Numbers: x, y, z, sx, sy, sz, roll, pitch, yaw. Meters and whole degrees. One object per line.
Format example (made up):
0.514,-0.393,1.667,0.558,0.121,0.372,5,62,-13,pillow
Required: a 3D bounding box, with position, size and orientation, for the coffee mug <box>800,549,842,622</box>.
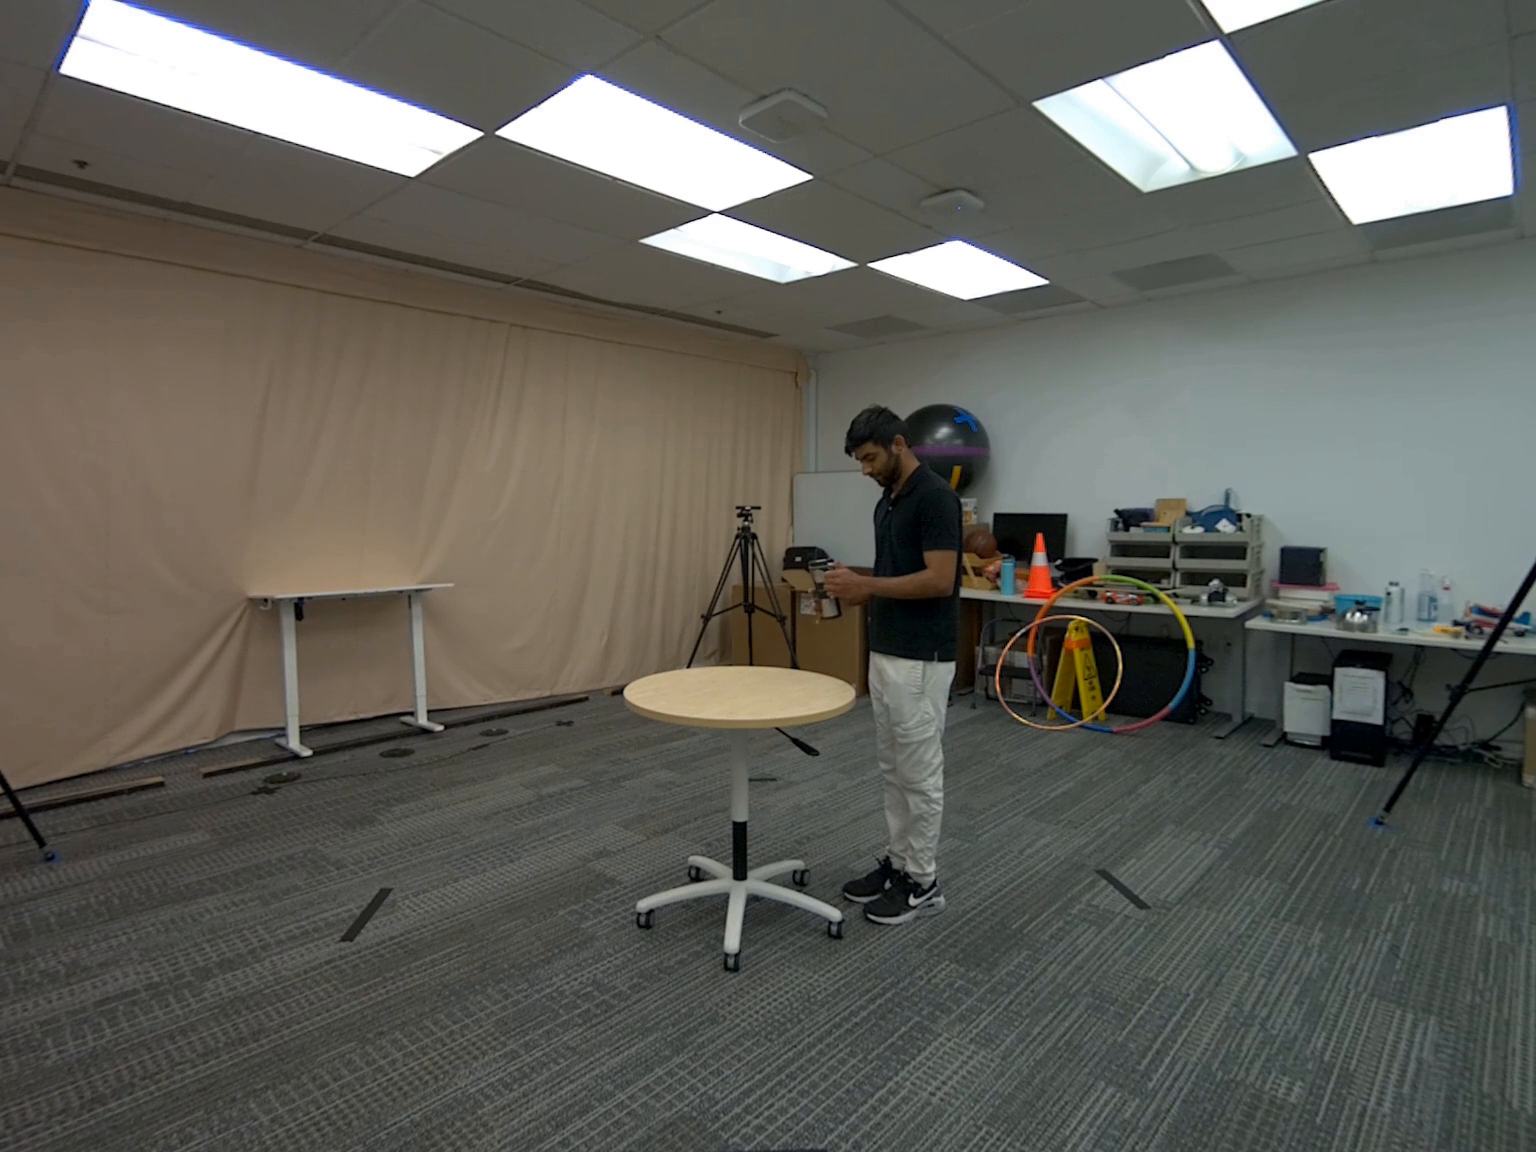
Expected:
0.208,0.048,2.839,0.087,0.202,0.123,-11,4,-6,coffee mug
